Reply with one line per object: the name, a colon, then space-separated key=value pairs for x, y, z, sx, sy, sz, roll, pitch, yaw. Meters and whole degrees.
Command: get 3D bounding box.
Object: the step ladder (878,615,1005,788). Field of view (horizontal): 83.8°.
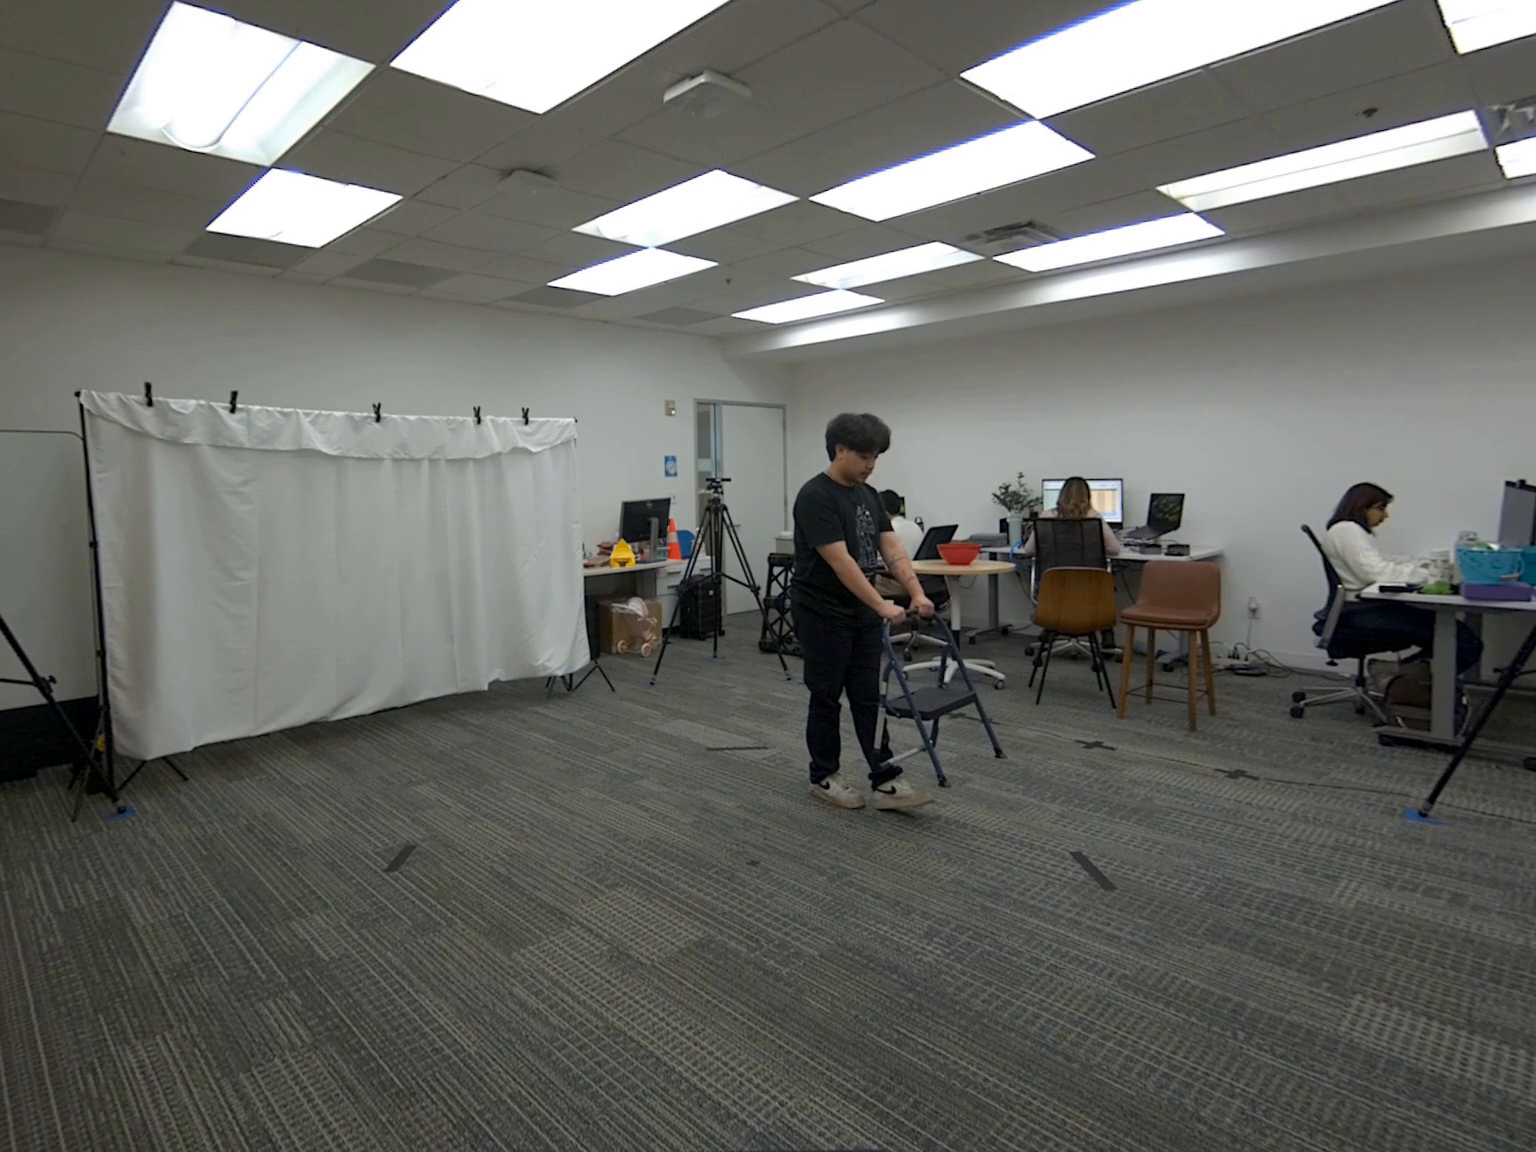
step ladder: x=0.634 y=0.444 z=3.328 sx=0.419 sy=0.605 sz=0.359 roll=-6 pitch=2 yaw=-45
